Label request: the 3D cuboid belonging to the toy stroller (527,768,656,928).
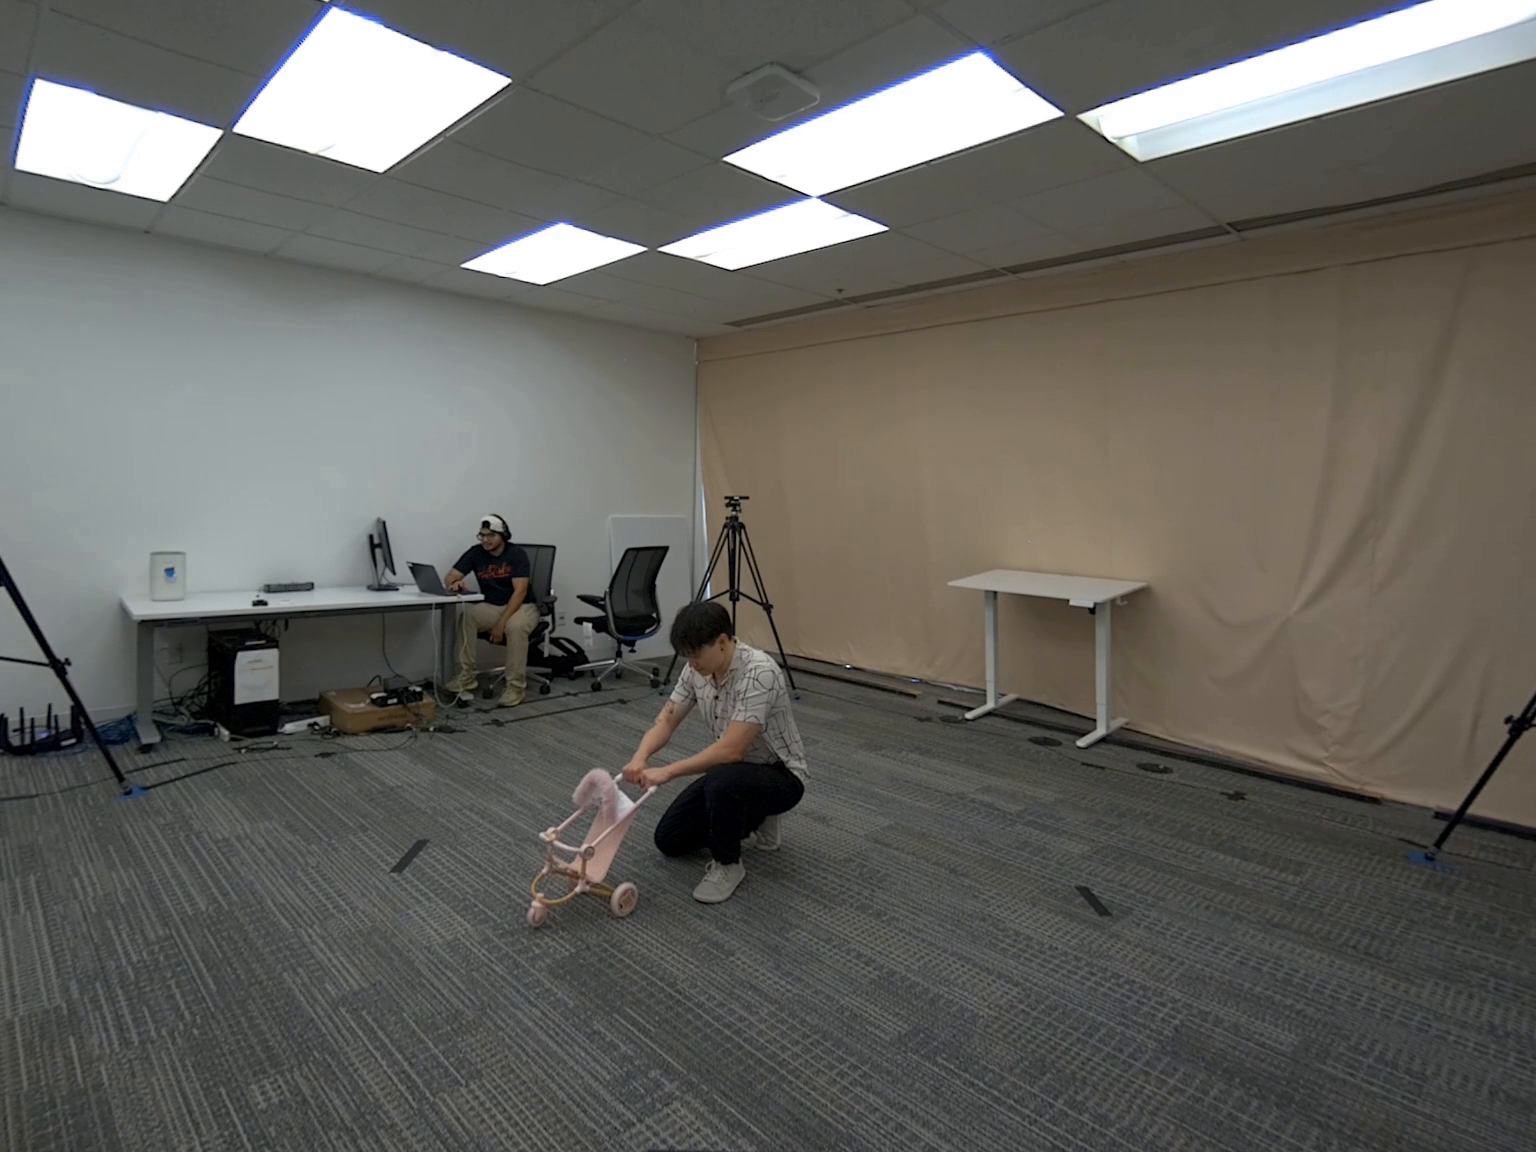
[{"bbox_3d":[-0.603,0.895,2.823,0.288,0.538,0.331,3,-17,46],"label":"toy stroller"}]
